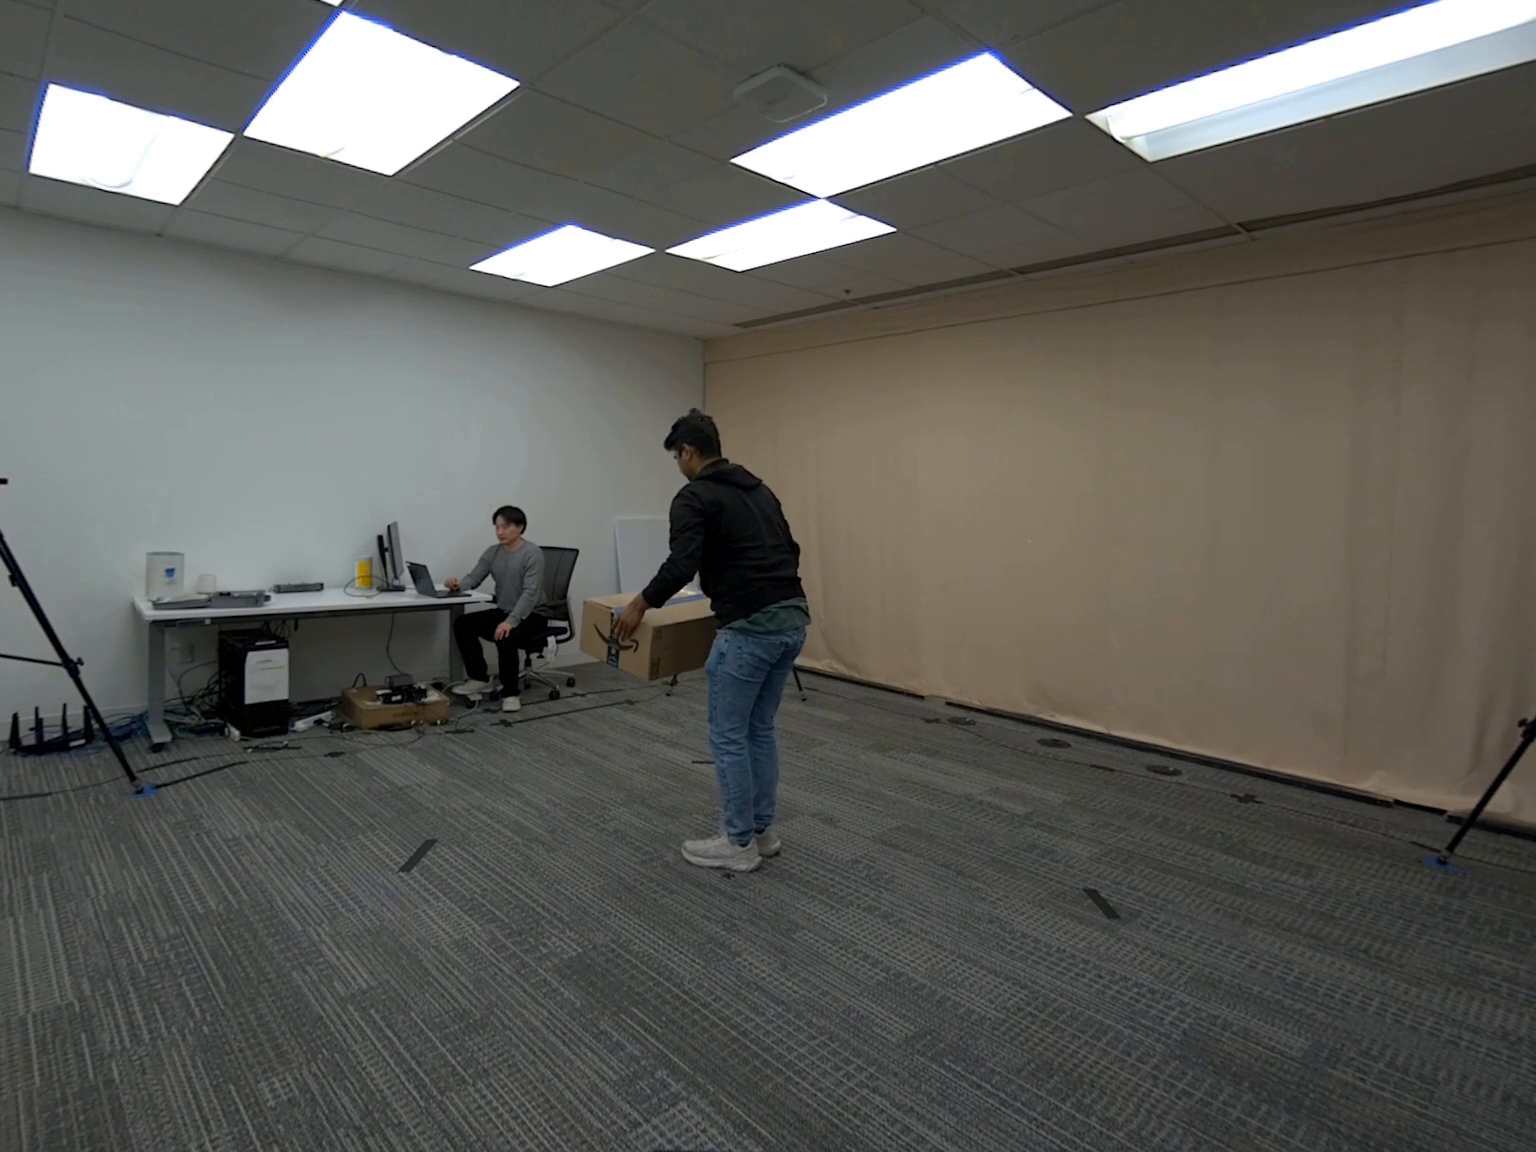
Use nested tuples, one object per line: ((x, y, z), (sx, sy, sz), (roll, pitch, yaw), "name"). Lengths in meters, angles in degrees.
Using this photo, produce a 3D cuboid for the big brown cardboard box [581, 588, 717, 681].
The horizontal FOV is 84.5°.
((-0.408, 0.221, 3.435), (0.429, 0.231, 0.577), (15, 15, 39), "big brown cardboard box")
